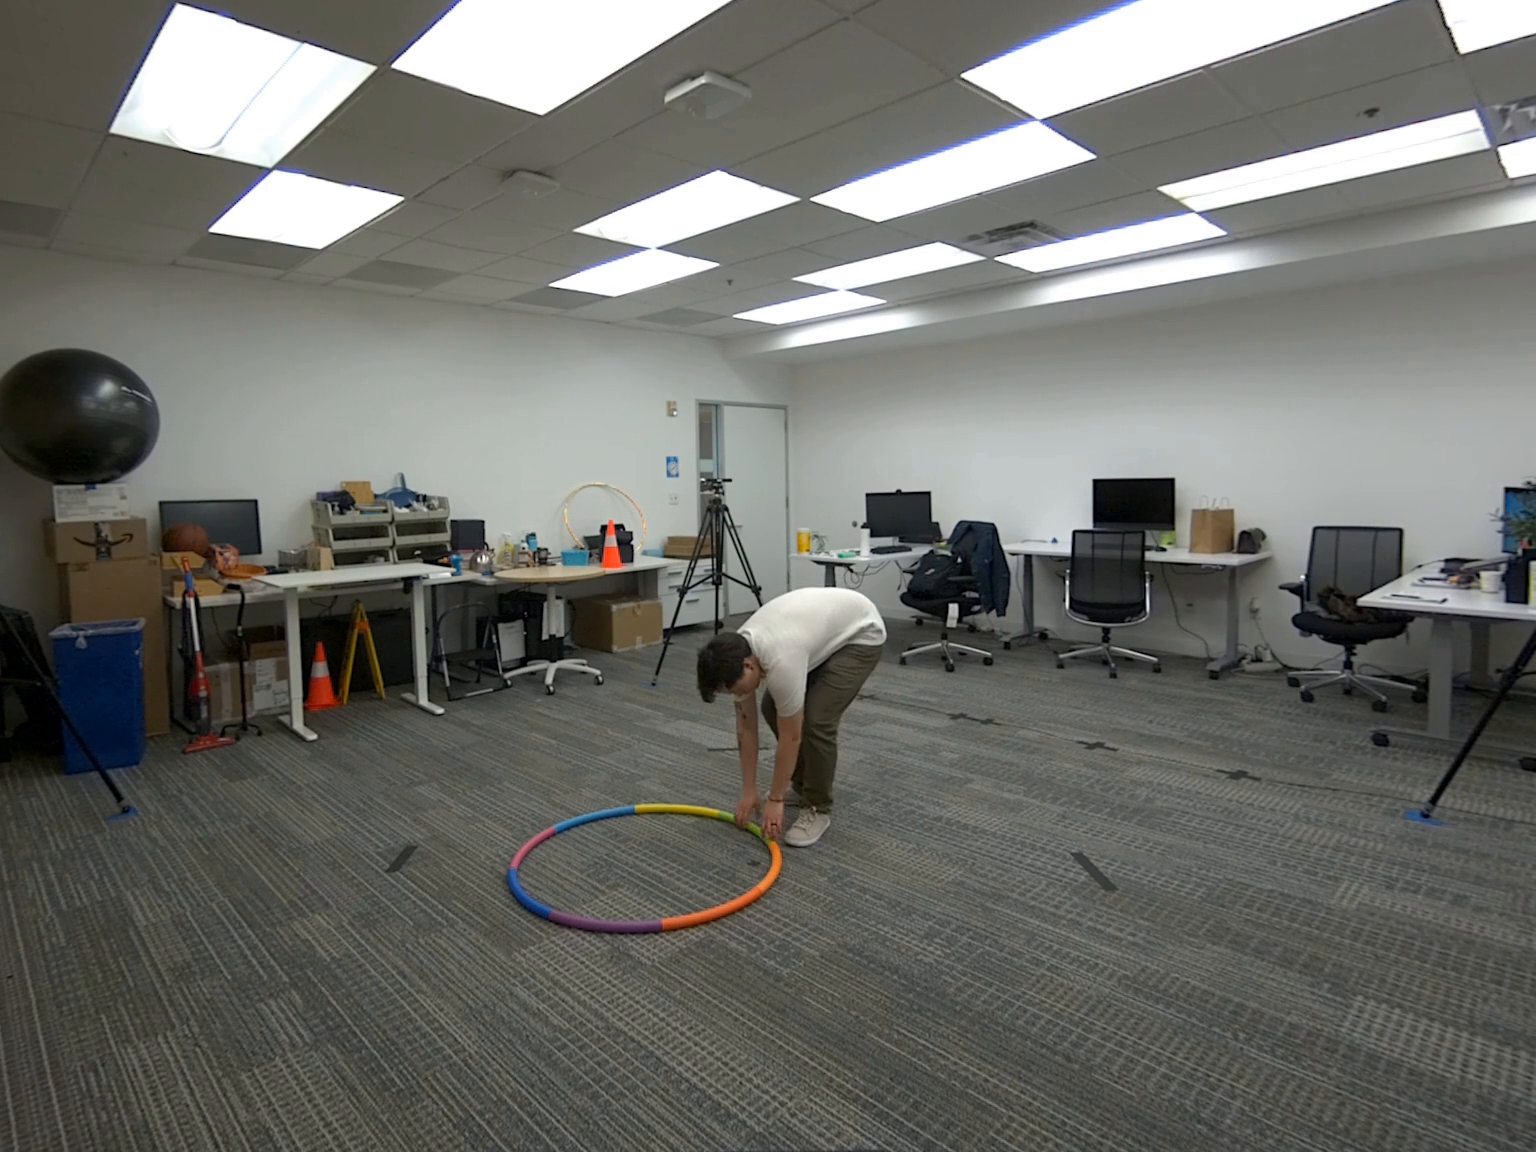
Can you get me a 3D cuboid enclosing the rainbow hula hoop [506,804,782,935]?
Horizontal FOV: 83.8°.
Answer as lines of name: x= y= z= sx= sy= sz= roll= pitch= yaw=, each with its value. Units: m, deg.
rainbow hula hoop: x=-0.441 y=1.020 z=3.126 sx=0.978 sy=0.035 sz=0.984 roll=-1 pitch=7 yaw=-2
